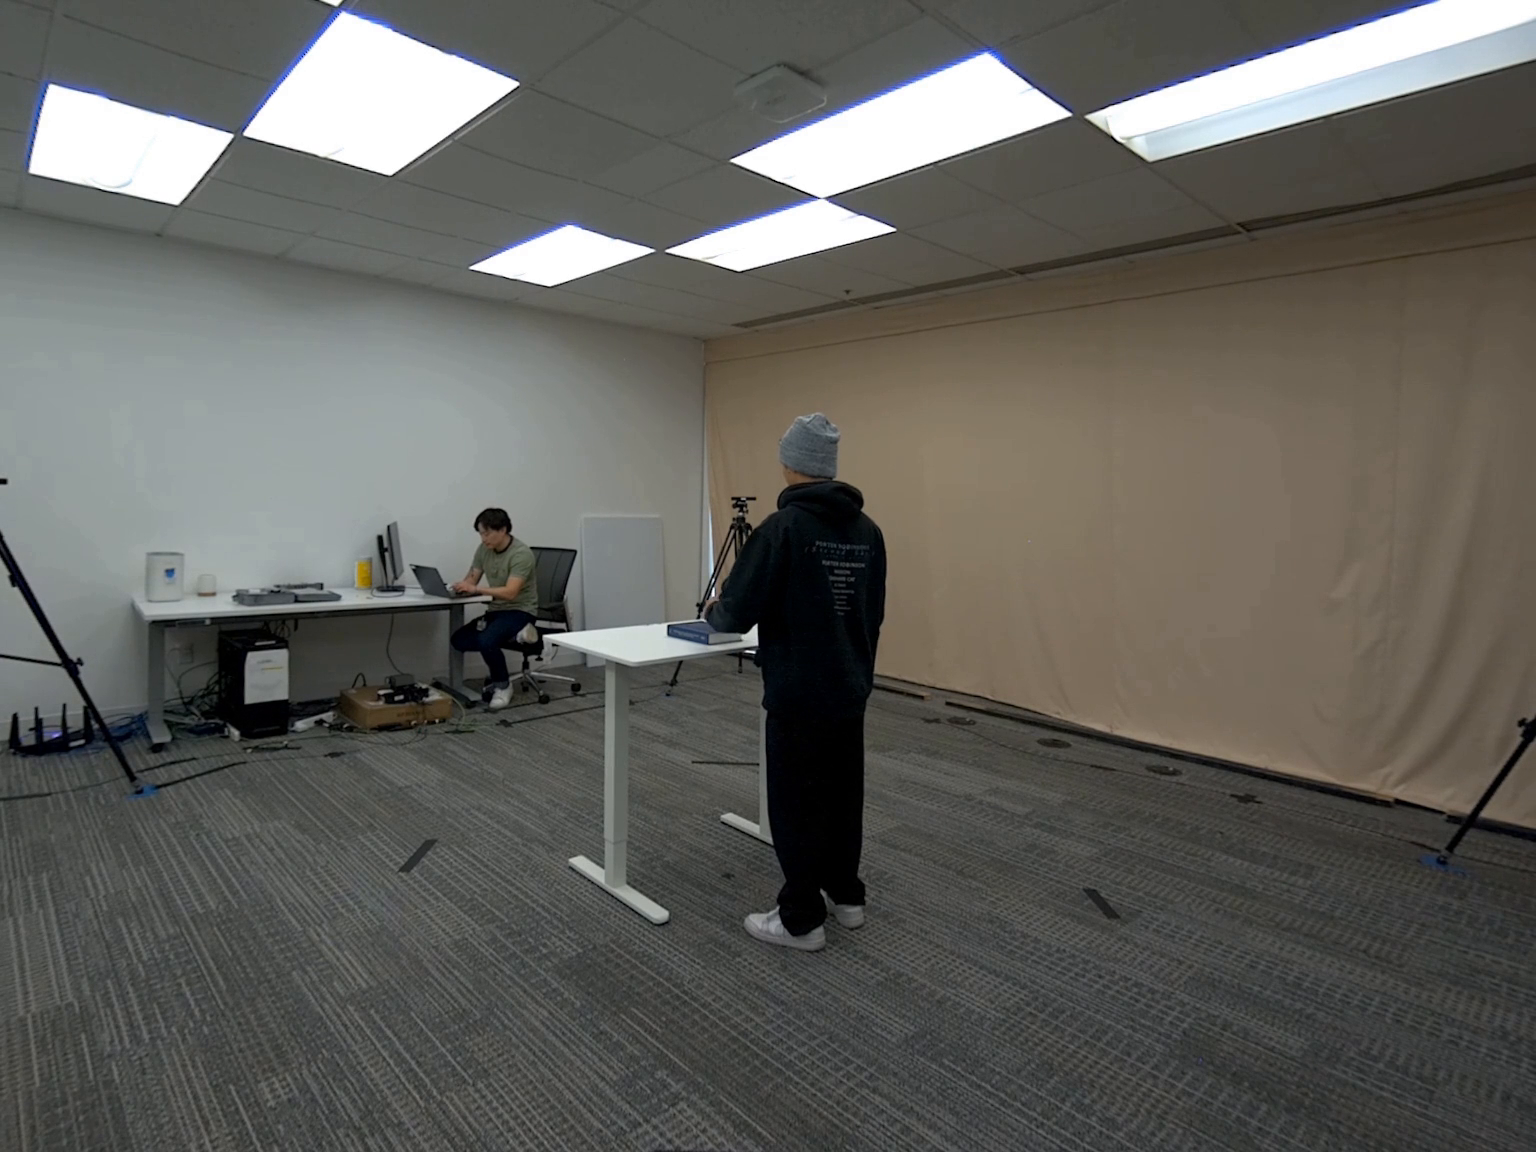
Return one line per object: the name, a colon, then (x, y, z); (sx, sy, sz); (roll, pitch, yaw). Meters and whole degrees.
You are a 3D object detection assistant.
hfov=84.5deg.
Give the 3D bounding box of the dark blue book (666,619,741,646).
dark blue book: (-0.245, 0.208, 3.059); (0.160, 0.045, 0.251); (-4, 7, -42)
